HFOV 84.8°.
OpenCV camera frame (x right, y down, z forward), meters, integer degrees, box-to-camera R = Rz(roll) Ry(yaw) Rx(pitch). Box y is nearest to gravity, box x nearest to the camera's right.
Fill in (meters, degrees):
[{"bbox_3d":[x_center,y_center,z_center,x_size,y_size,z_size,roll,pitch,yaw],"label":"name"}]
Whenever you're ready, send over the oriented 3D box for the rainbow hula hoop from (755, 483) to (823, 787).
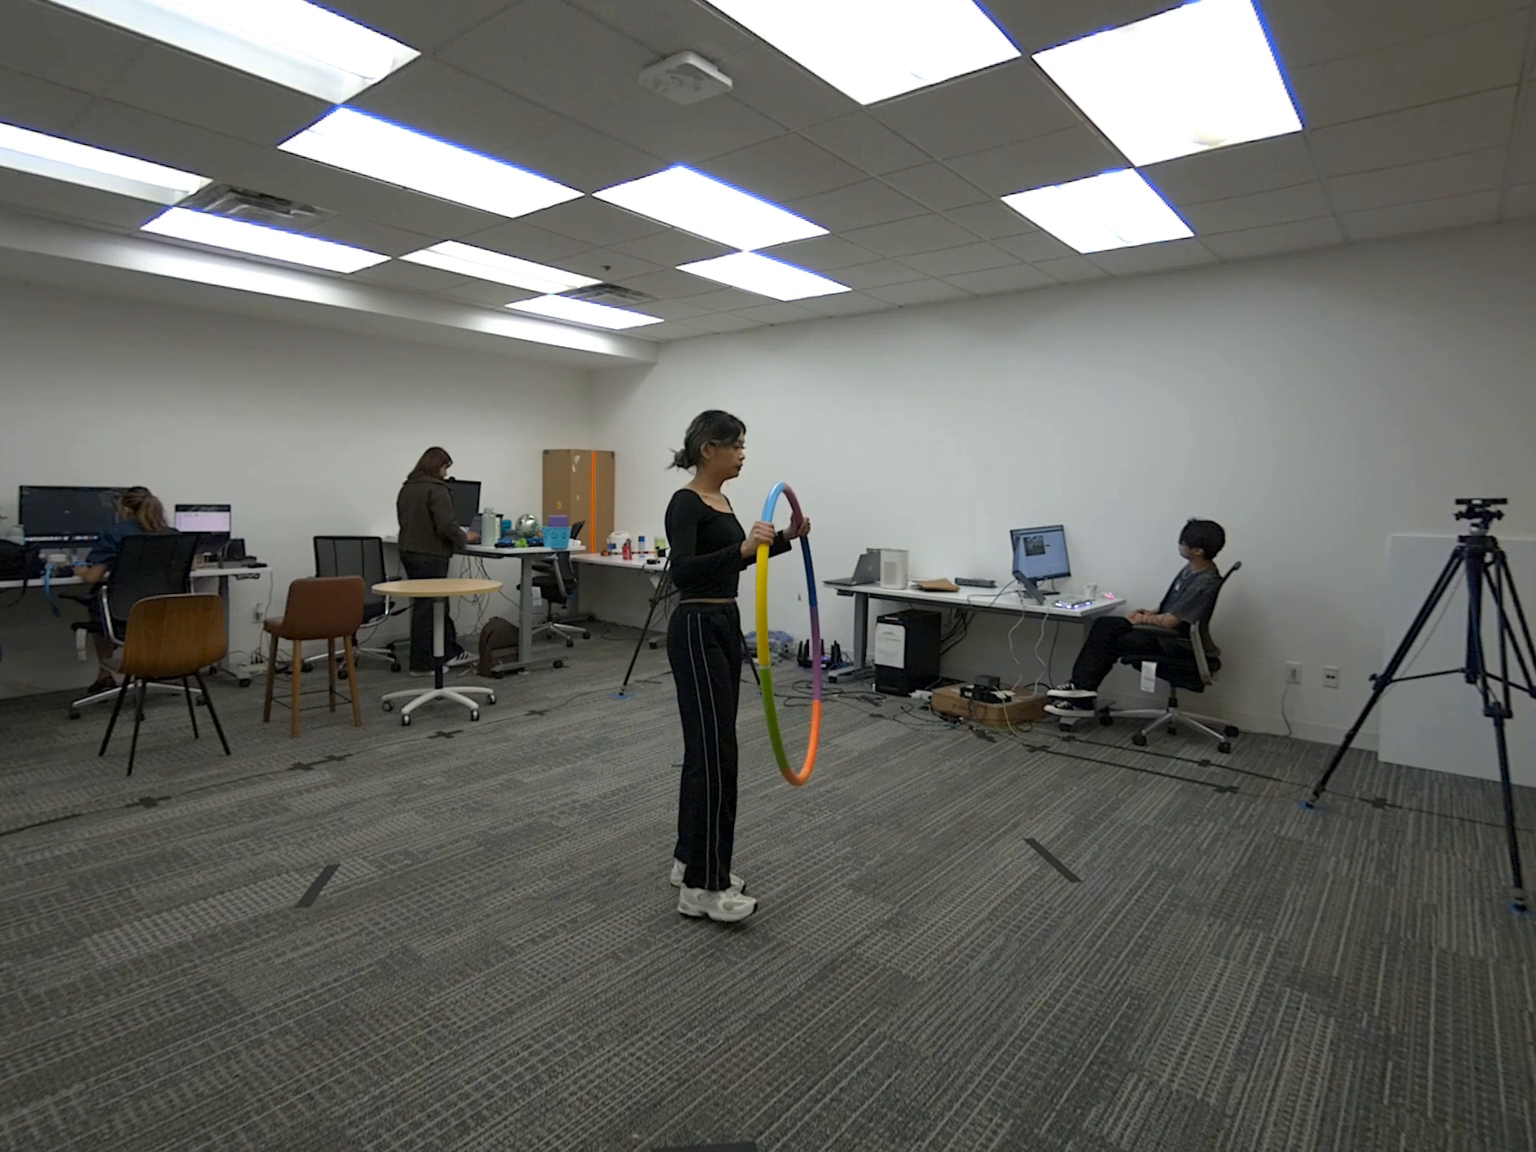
[{"bbox_3d":[0.075,0.184,2.851,0.036,0.976,0.966,-2,3,13],"label":"rainbow hula hoop"}]
